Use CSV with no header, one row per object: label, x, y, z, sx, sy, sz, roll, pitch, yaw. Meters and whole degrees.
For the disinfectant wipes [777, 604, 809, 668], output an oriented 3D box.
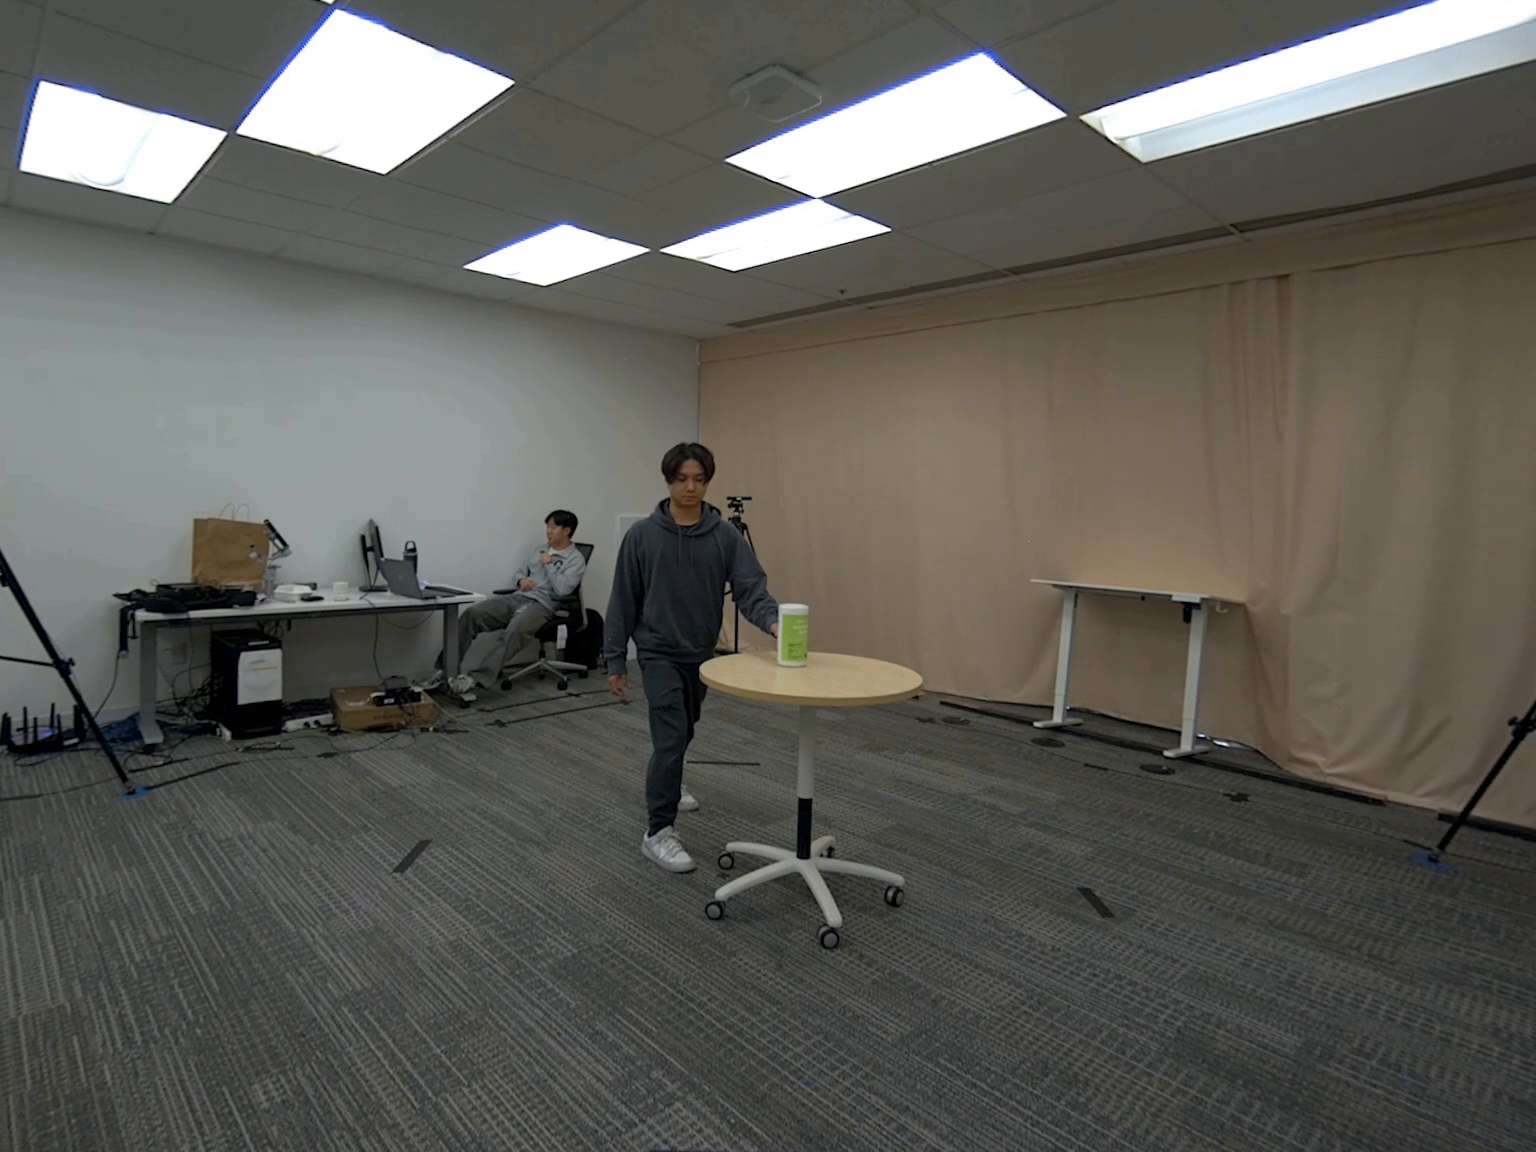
disinfectant wipes,0.078,0.214,3.026,0.118,0.217,0.118,2,4,-2
